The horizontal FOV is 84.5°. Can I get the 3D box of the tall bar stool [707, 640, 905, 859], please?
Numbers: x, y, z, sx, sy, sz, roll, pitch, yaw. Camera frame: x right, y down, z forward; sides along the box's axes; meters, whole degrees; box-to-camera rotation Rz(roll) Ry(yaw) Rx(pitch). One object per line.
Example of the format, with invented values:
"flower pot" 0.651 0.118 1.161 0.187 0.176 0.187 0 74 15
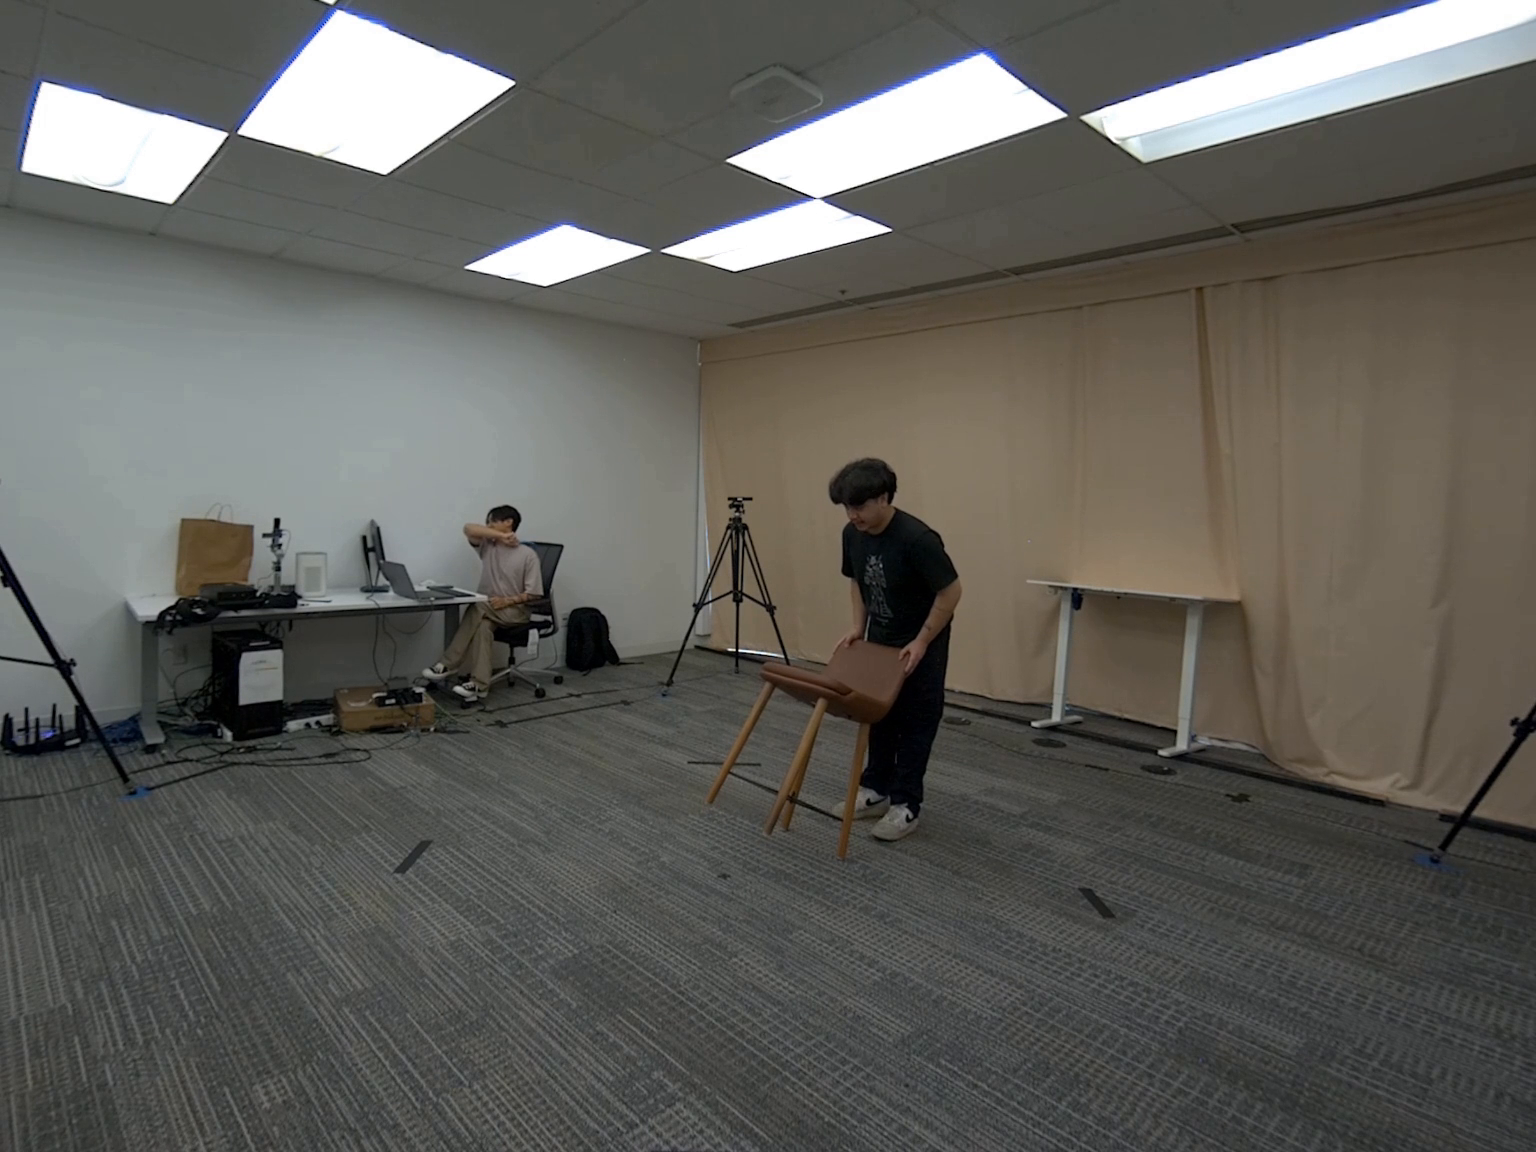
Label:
"tall bar stool" 0.181 0.606 3.394 0.454 0.894 0.467 32 -15 -34
